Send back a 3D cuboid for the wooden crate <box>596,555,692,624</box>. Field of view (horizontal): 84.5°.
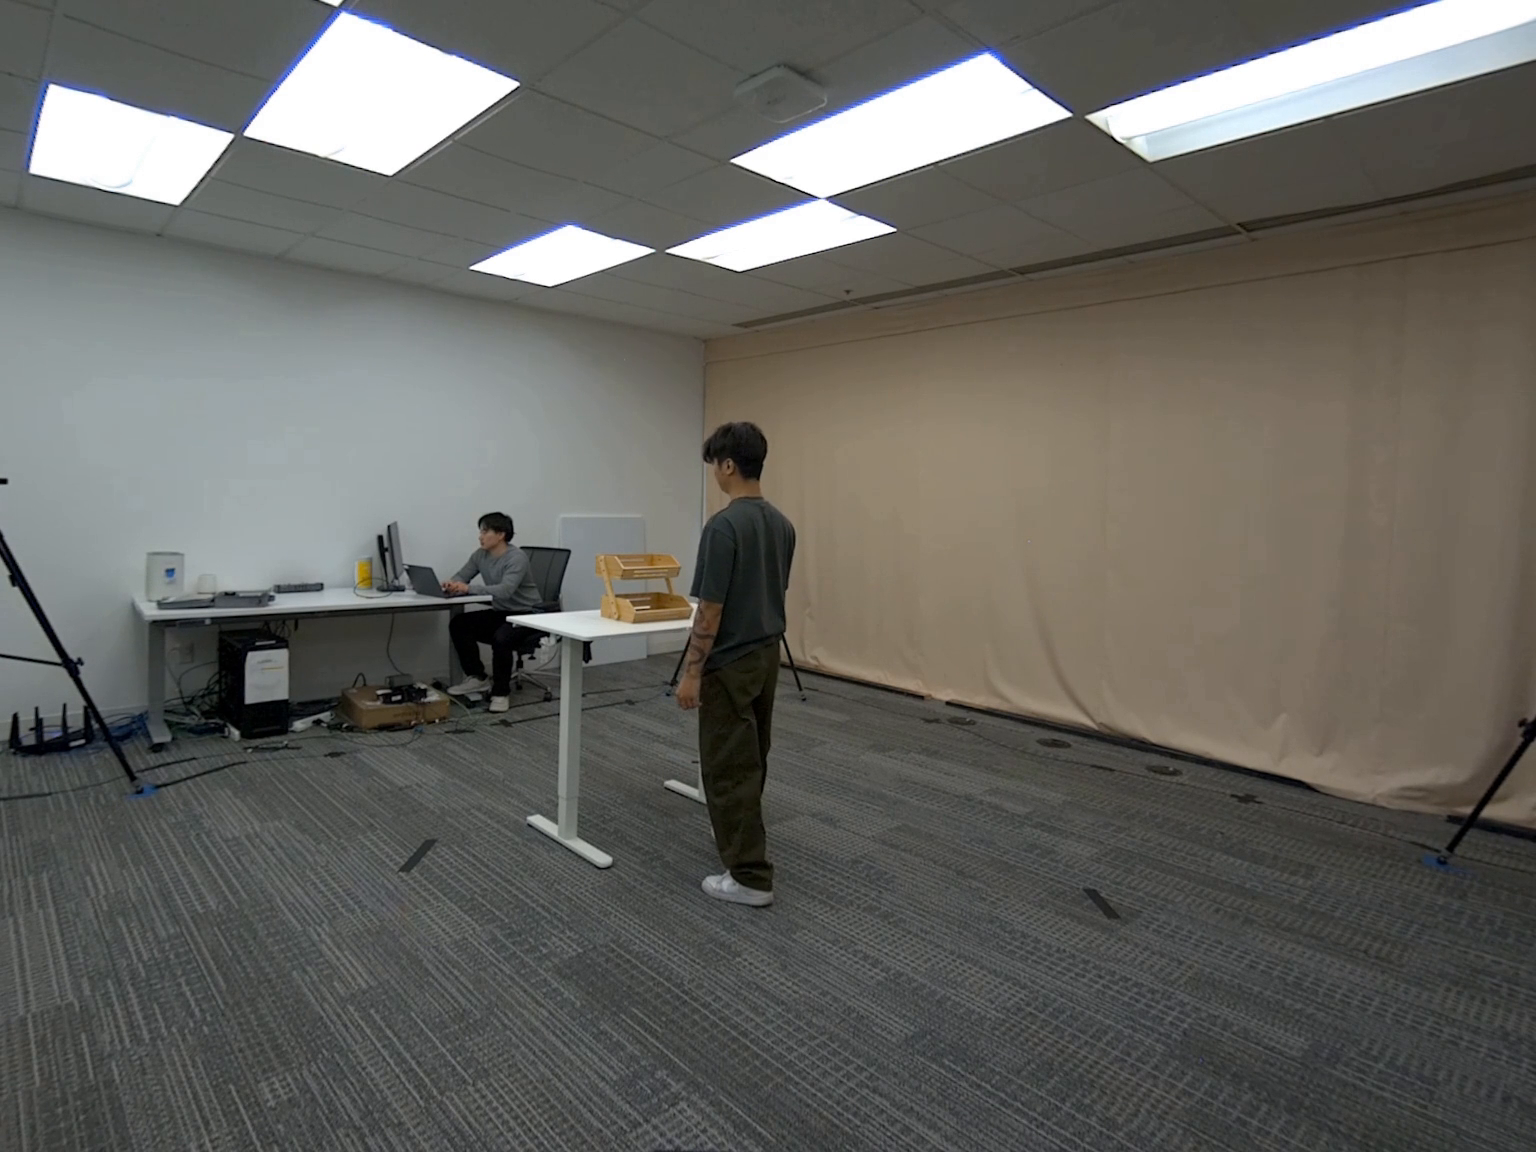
[{"bbox_3d":[-0.531,0.042,3.561,0.317,0.273,0.310,-1,5,-43],"label":"wooden crate"}]
